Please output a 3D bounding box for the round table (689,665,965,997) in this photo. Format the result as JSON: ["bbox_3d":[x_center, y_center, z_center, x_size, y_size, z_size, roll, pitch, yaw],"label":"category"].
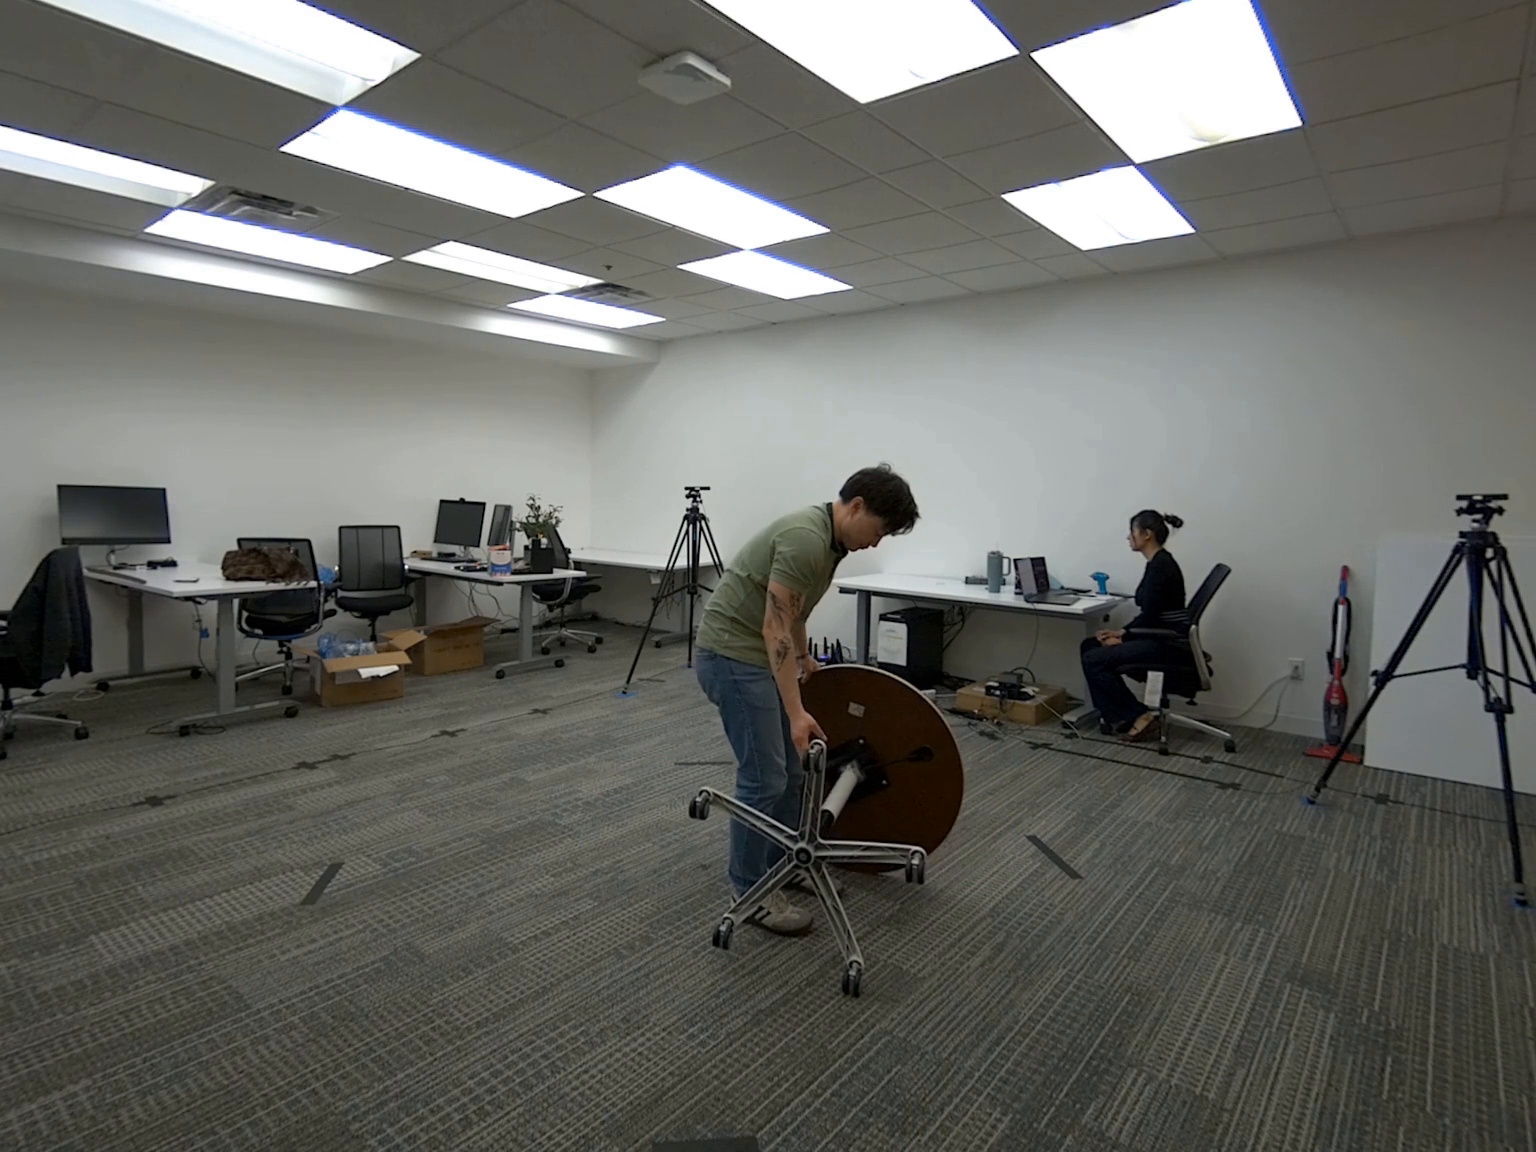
[{"bbox_3d":[0.200,0.760,2.711,0.780,0.758,0.783,2,9,19],"label":"round table"}]
